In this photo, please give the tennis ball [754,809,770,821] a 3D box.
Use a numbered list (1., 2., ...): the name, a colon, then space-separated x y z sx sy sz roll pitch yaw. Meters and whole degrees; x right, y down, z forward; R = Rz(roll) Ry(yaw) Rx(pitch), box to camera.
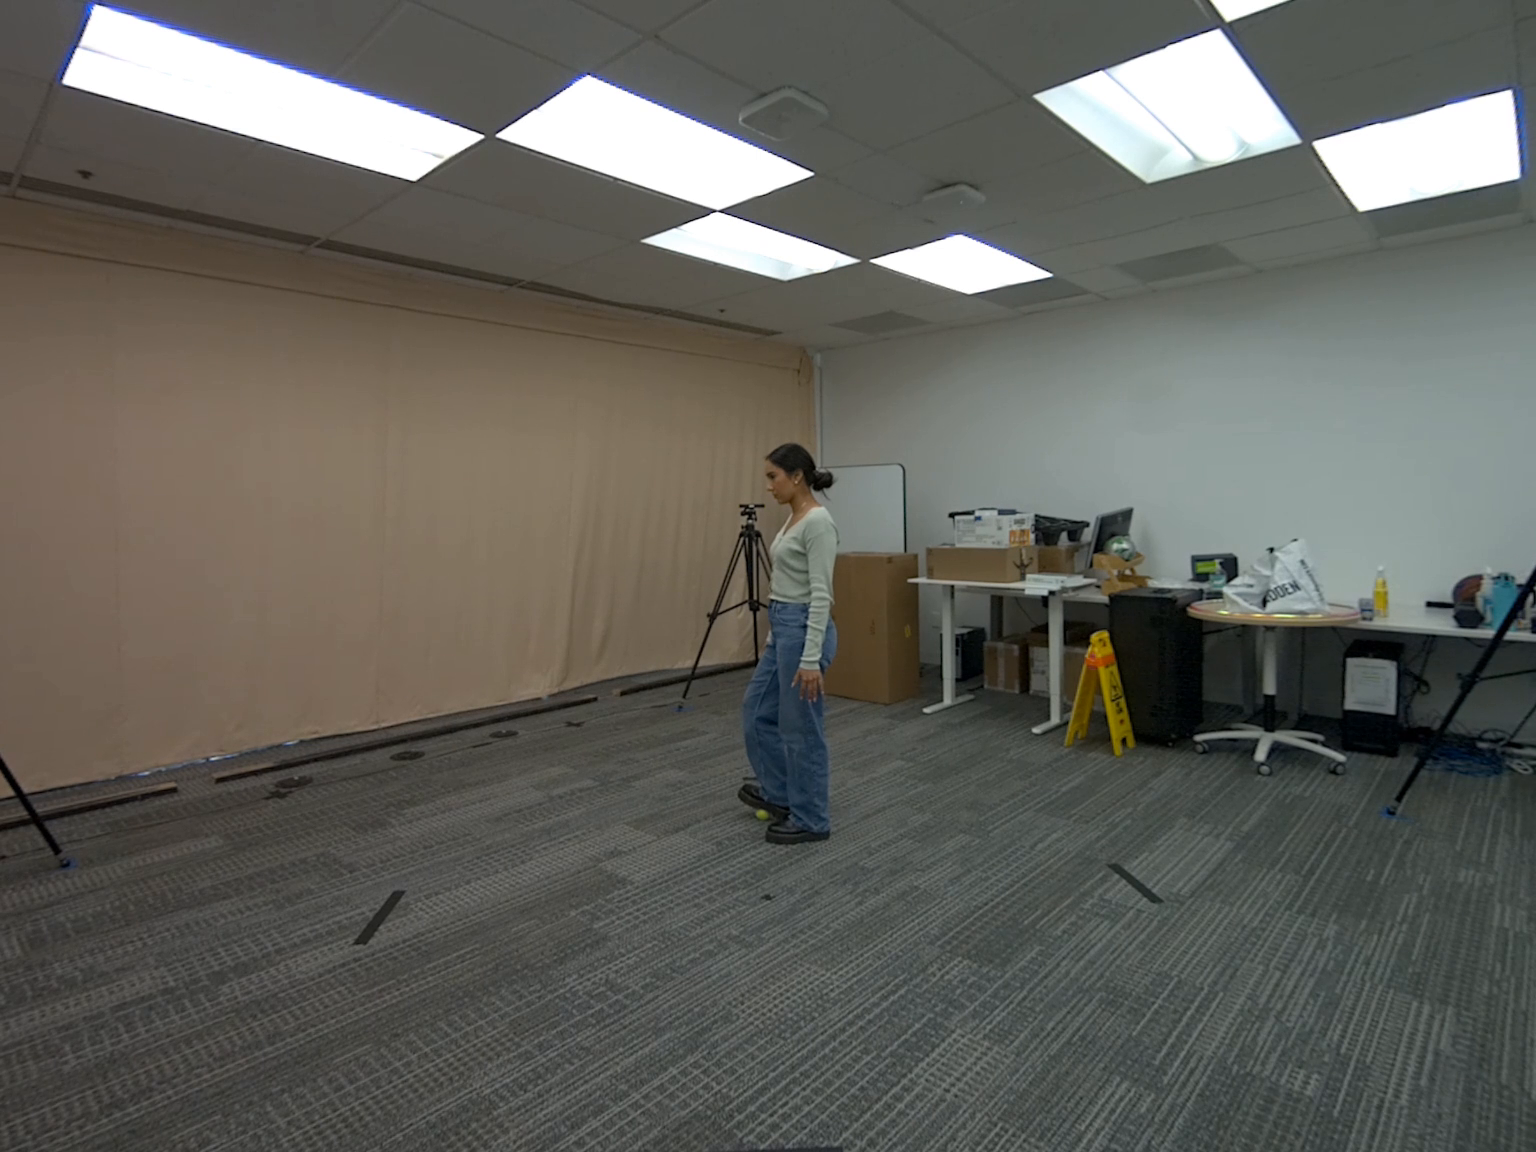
1. tennis ball: -0.022 1.059 3.742 0.066 0.066 0.067 -1 4 -2
